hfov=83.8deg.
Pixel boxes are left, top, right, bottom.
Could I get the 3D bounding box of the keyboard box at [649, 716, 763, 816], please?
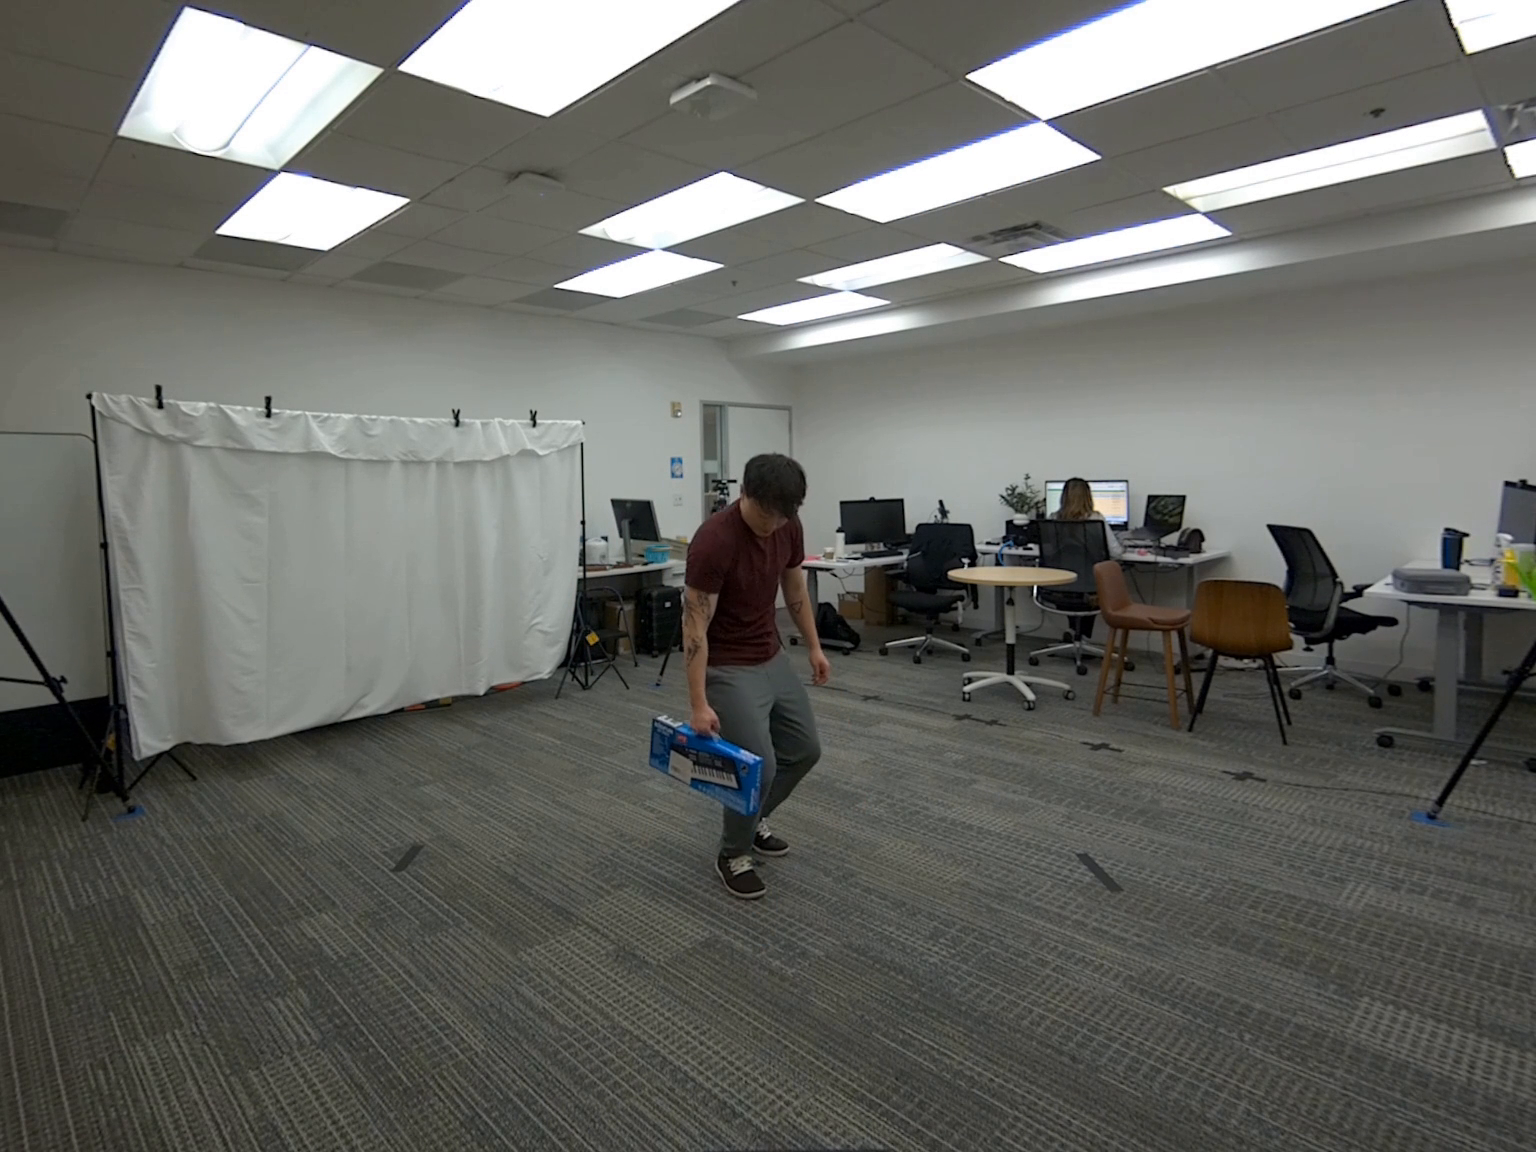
[{"bbox_3d":[-0.204,0.607,2.748,0.452,0.174,0.057,15,14,40],"label":"keyboard box"}]
